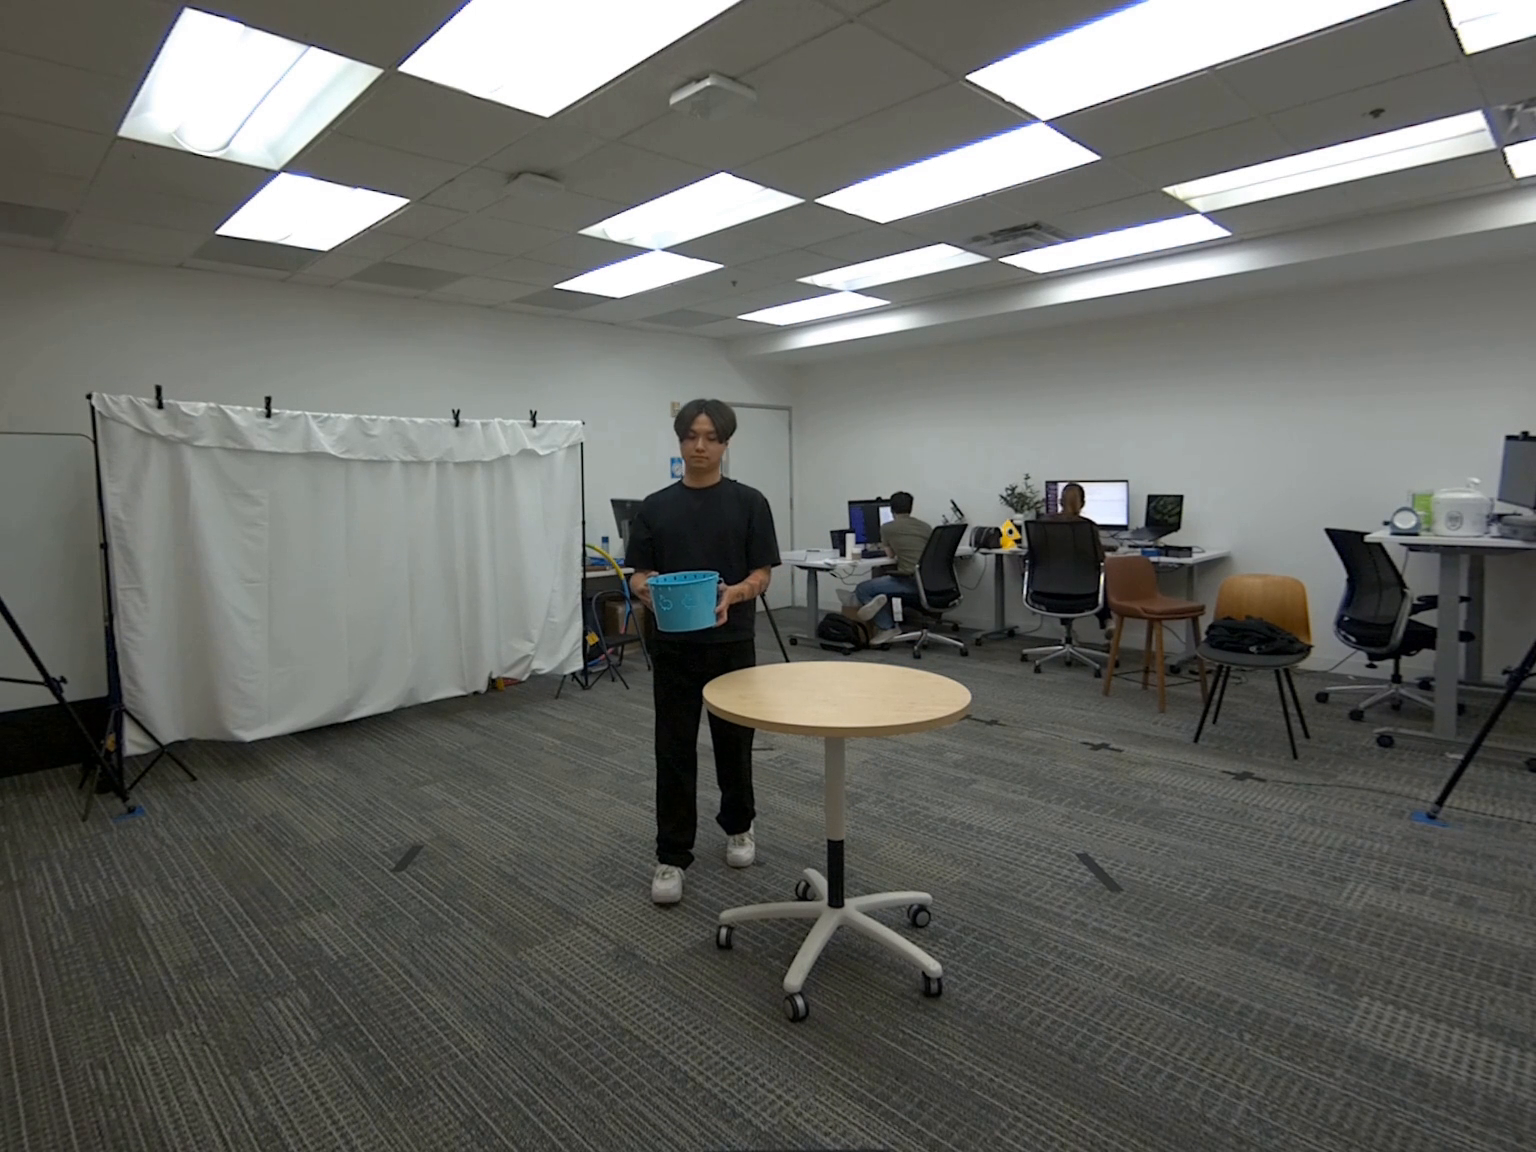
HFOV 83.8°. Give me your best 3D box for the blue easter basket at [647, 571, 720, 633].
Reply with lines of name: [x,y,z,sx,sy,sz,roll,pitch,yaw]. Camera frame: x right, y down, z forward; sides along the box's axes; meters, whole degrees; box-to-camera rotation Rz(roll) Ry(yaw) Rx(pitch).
blue easter basket: [-0.265,0.083,2.661,0.243,0.155,0.245,-6,7,-1]
